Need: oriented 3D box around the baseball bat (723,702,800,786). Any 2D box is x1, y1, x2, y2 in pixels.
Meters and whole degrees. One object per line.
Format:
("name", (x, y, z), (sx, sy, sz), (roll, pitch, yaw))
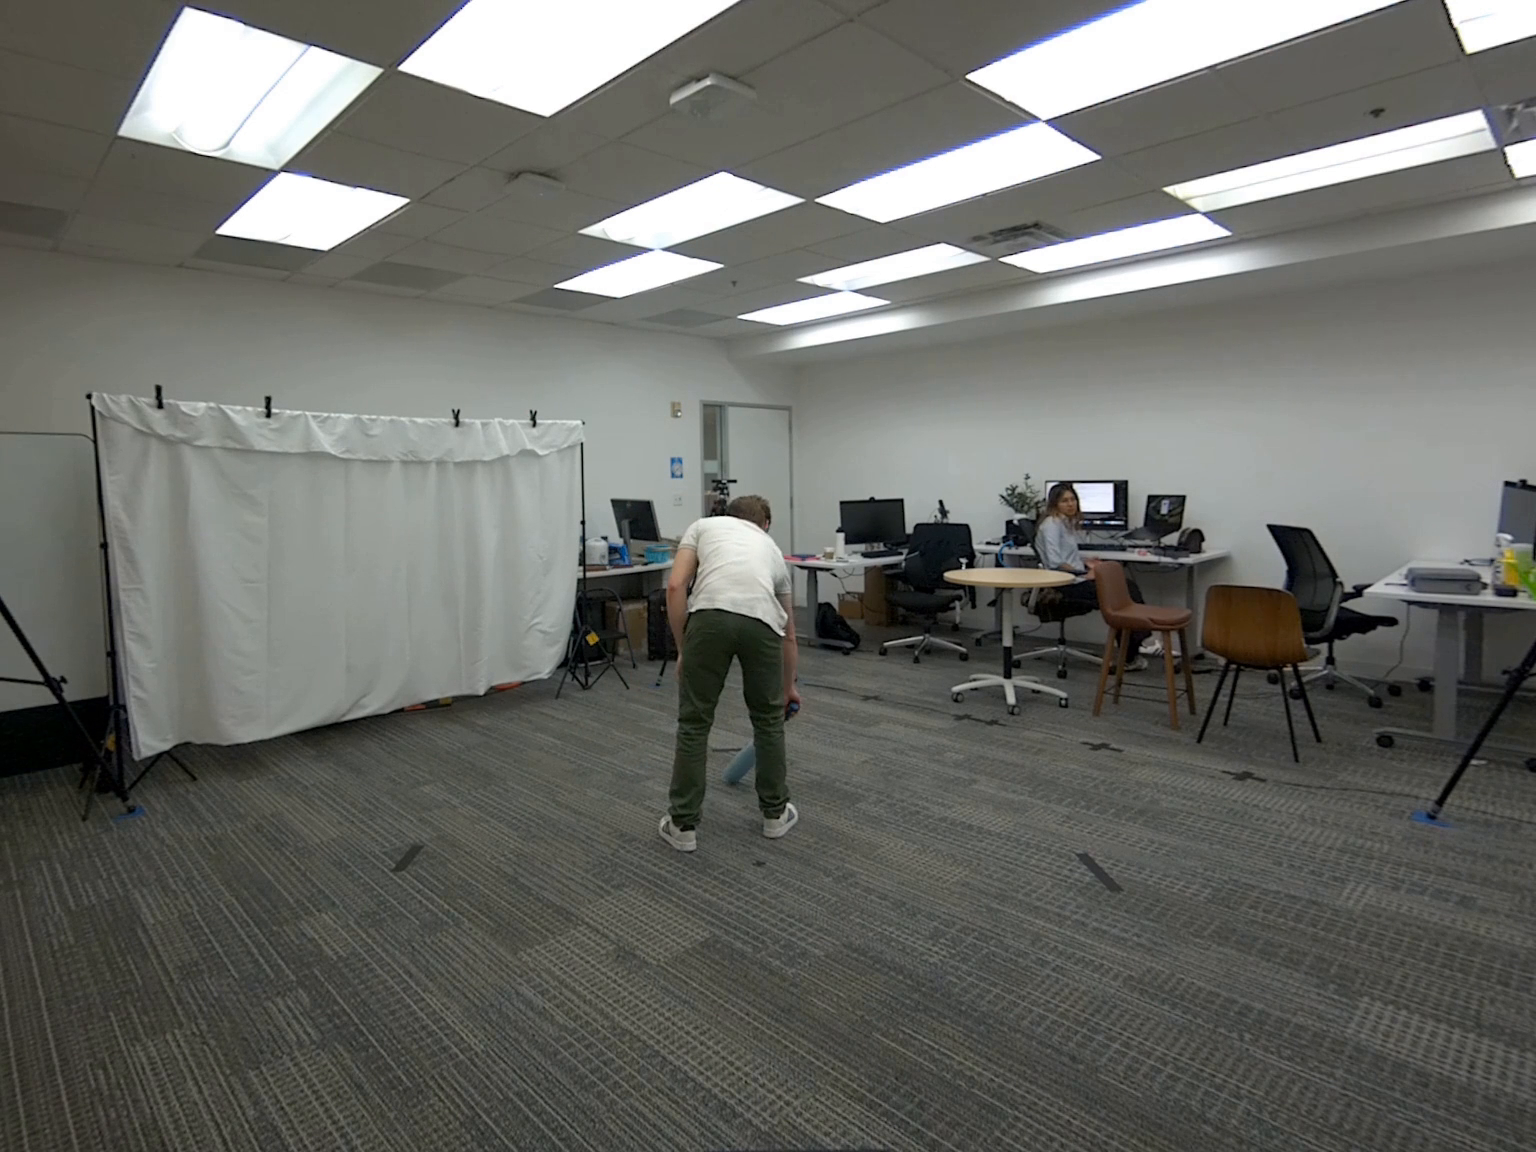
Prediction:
("baseball bat", (-0.025, 0.753, 3.837), (0.087, 0.541, 0.091), (28, 31, -21))
